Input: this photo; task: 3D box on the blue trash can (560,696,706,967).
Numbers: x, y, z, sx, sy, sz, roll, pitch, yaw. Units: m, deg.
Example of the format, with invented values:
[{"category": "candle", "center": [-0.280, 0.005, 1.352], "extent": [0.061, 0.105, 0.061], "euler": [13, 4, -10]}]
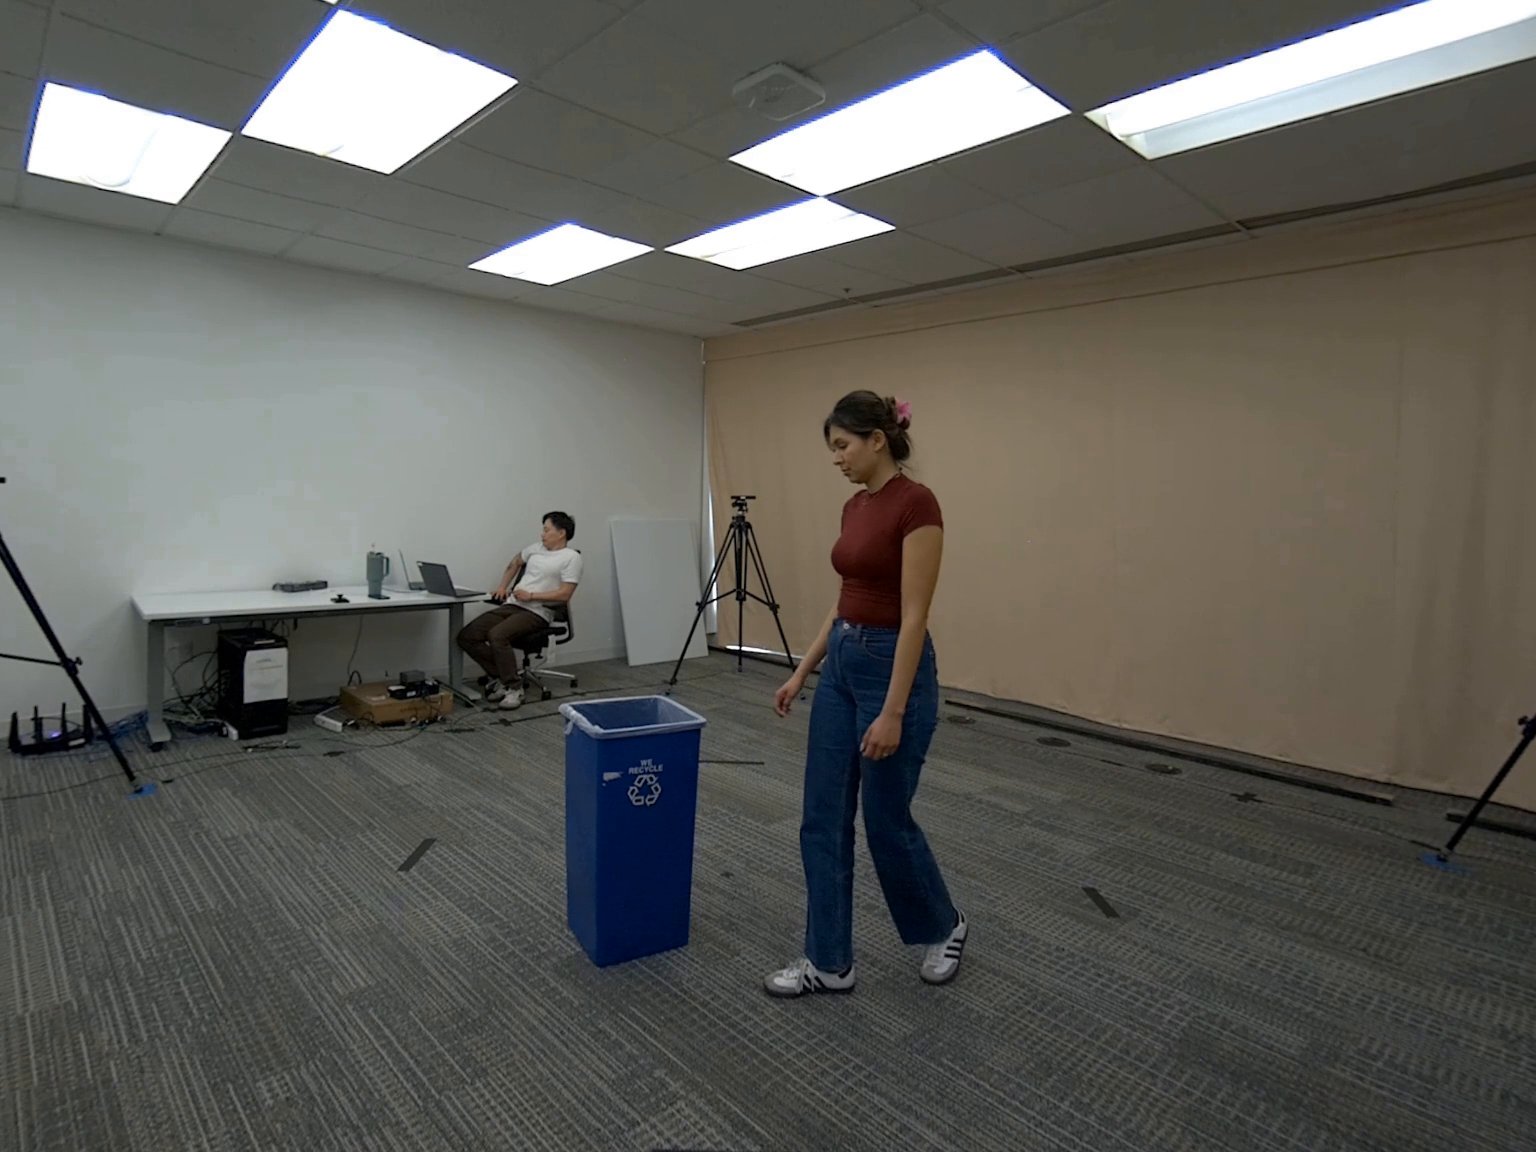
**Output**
[{"category": "blue trash can", "center": [-0.443, 0.781, 2.654], "extent": [0.366, 0.712, 0.387], "euler": [-1, 4, -31]}]
